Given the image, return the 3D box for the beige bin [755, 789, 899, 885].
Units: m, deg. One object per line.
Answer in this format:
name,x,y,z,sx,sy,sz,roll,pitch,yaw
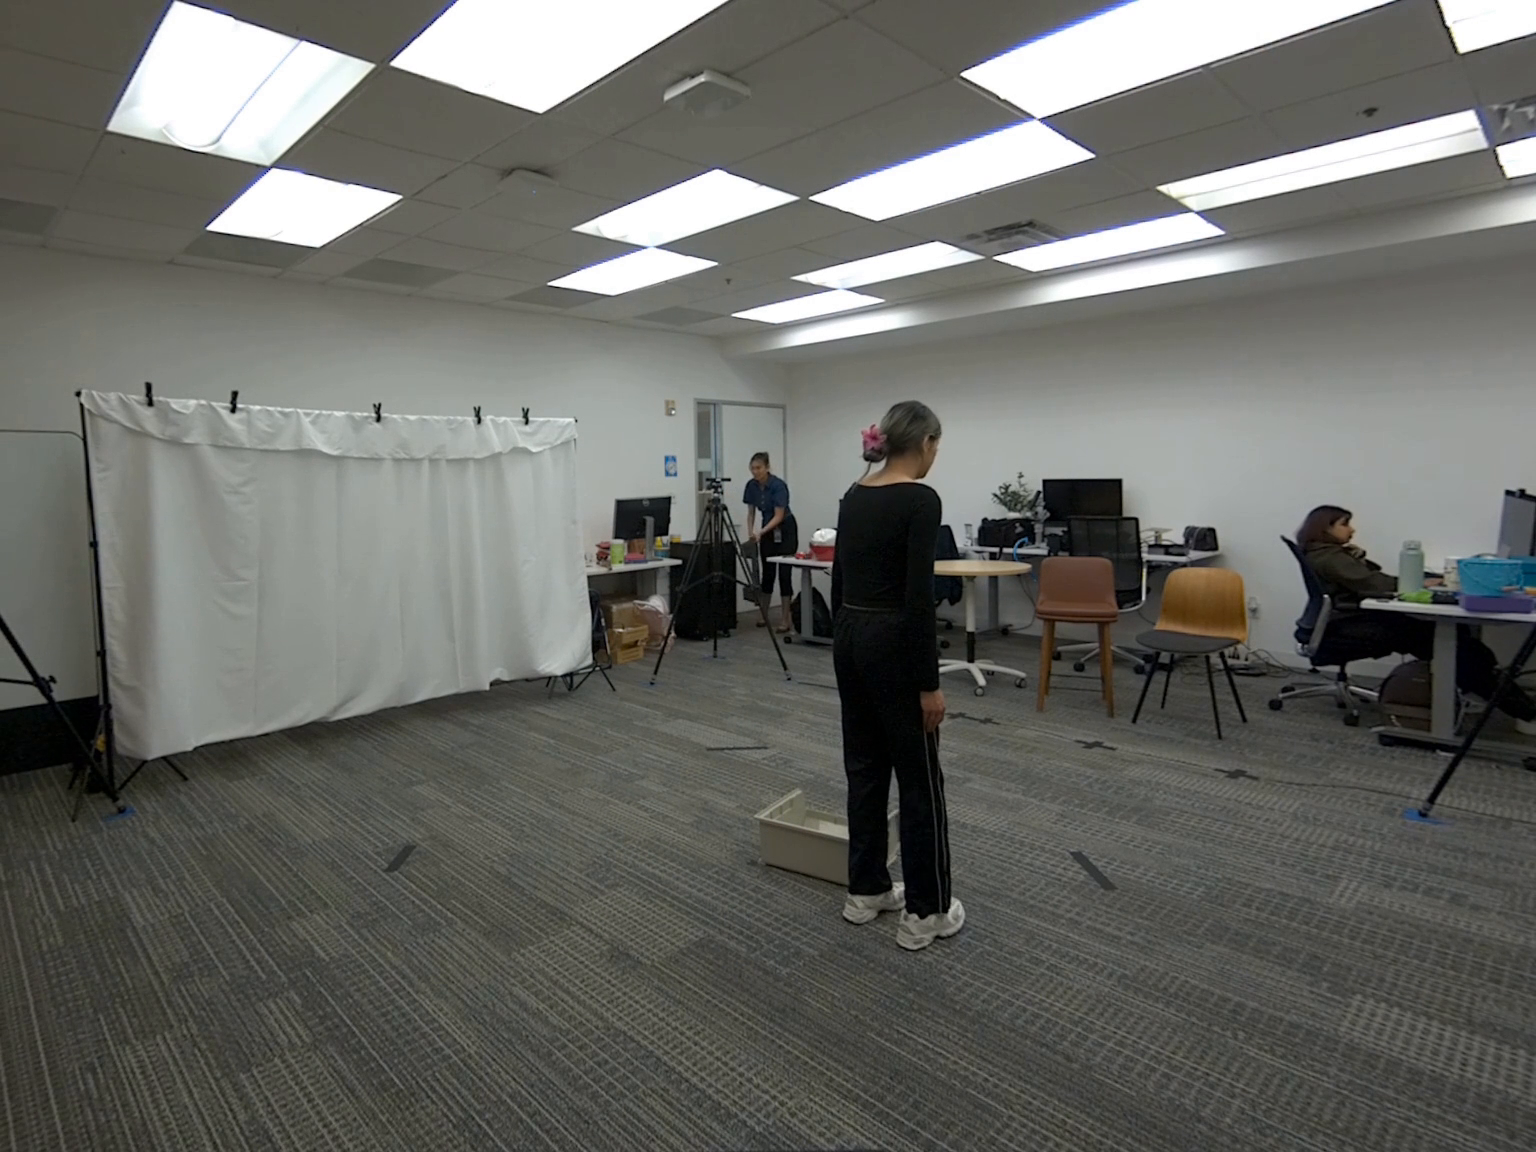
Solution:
beige bin,0.227,0.950,3.123,0.434,0.188,0.369,4,8,32
